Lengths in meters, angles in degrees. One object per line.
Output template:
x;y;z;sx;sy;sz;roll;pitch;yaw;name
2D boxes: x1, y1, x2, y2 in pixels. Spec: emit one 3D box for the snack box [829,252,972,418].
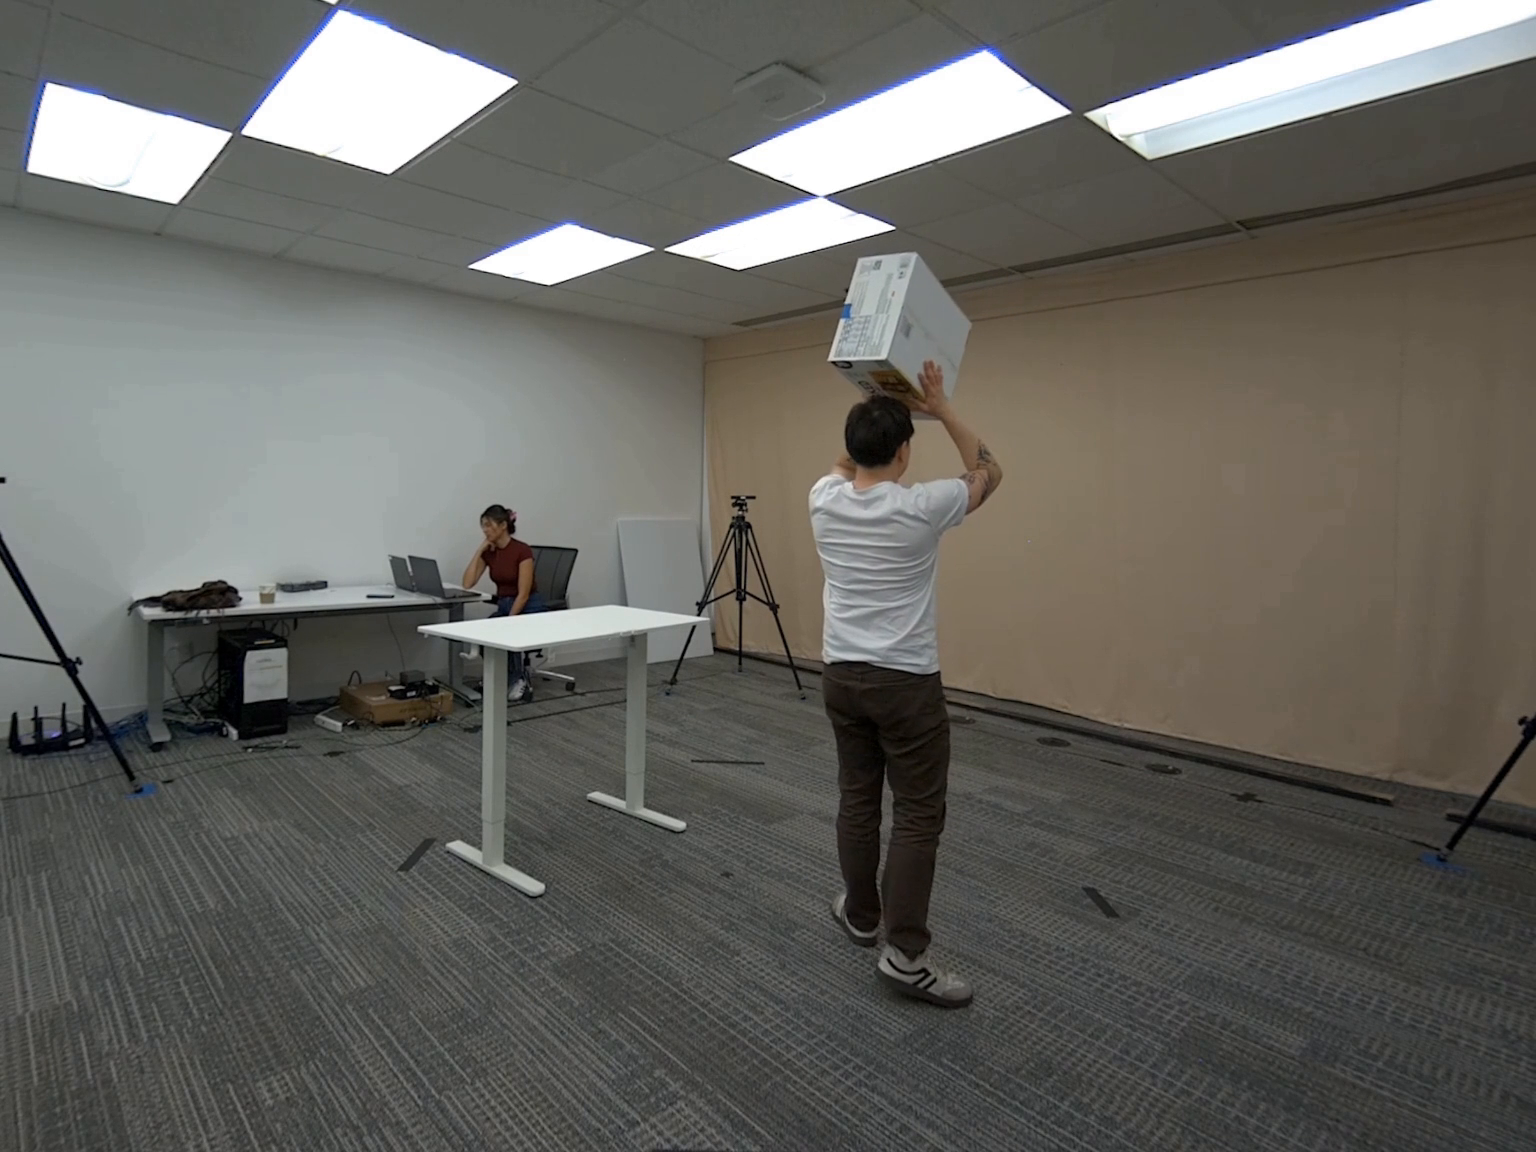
0.407;-0.716;2.571;0.211;0.342;0.393;9;-12;39;snack box
